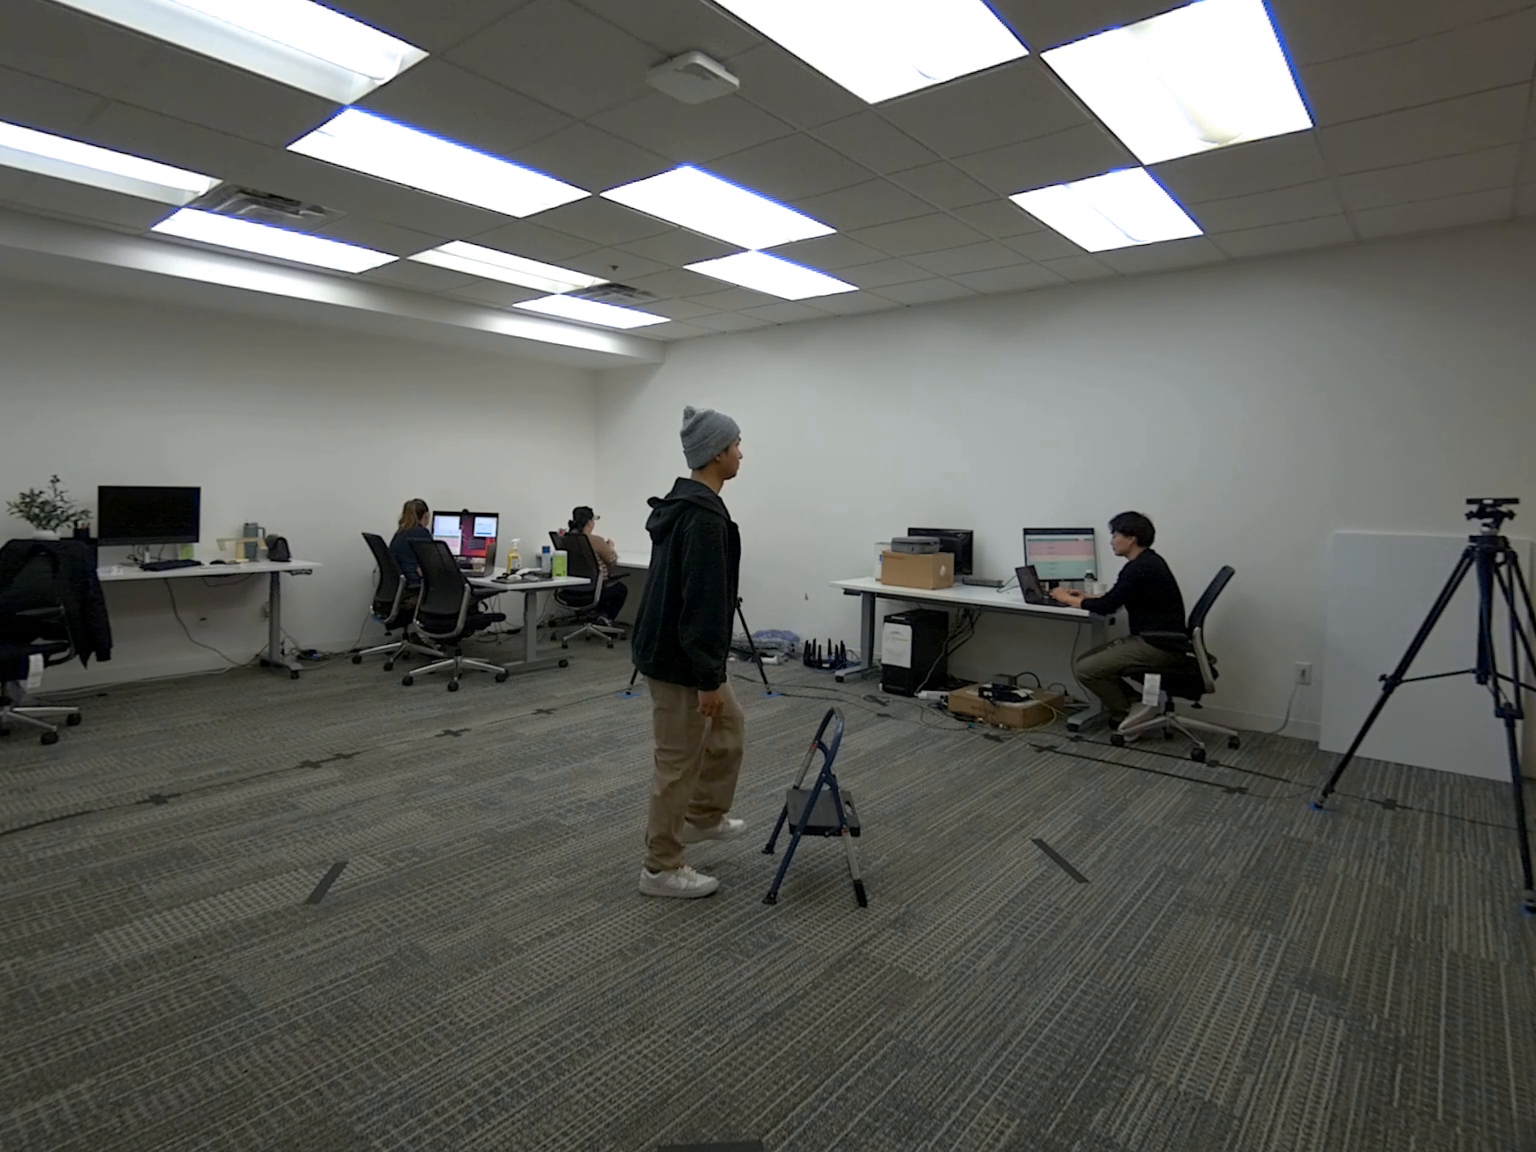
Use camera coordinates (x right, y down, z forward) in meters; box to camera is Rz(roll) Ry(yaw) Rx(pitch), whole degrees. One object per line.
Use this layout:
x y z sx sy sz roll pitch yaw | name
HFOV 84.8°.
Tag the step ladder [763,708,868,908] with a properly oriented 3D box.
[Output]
0.159 0.783 3.034 0.350 0.604 0.432 1 4 0 | step ladder
